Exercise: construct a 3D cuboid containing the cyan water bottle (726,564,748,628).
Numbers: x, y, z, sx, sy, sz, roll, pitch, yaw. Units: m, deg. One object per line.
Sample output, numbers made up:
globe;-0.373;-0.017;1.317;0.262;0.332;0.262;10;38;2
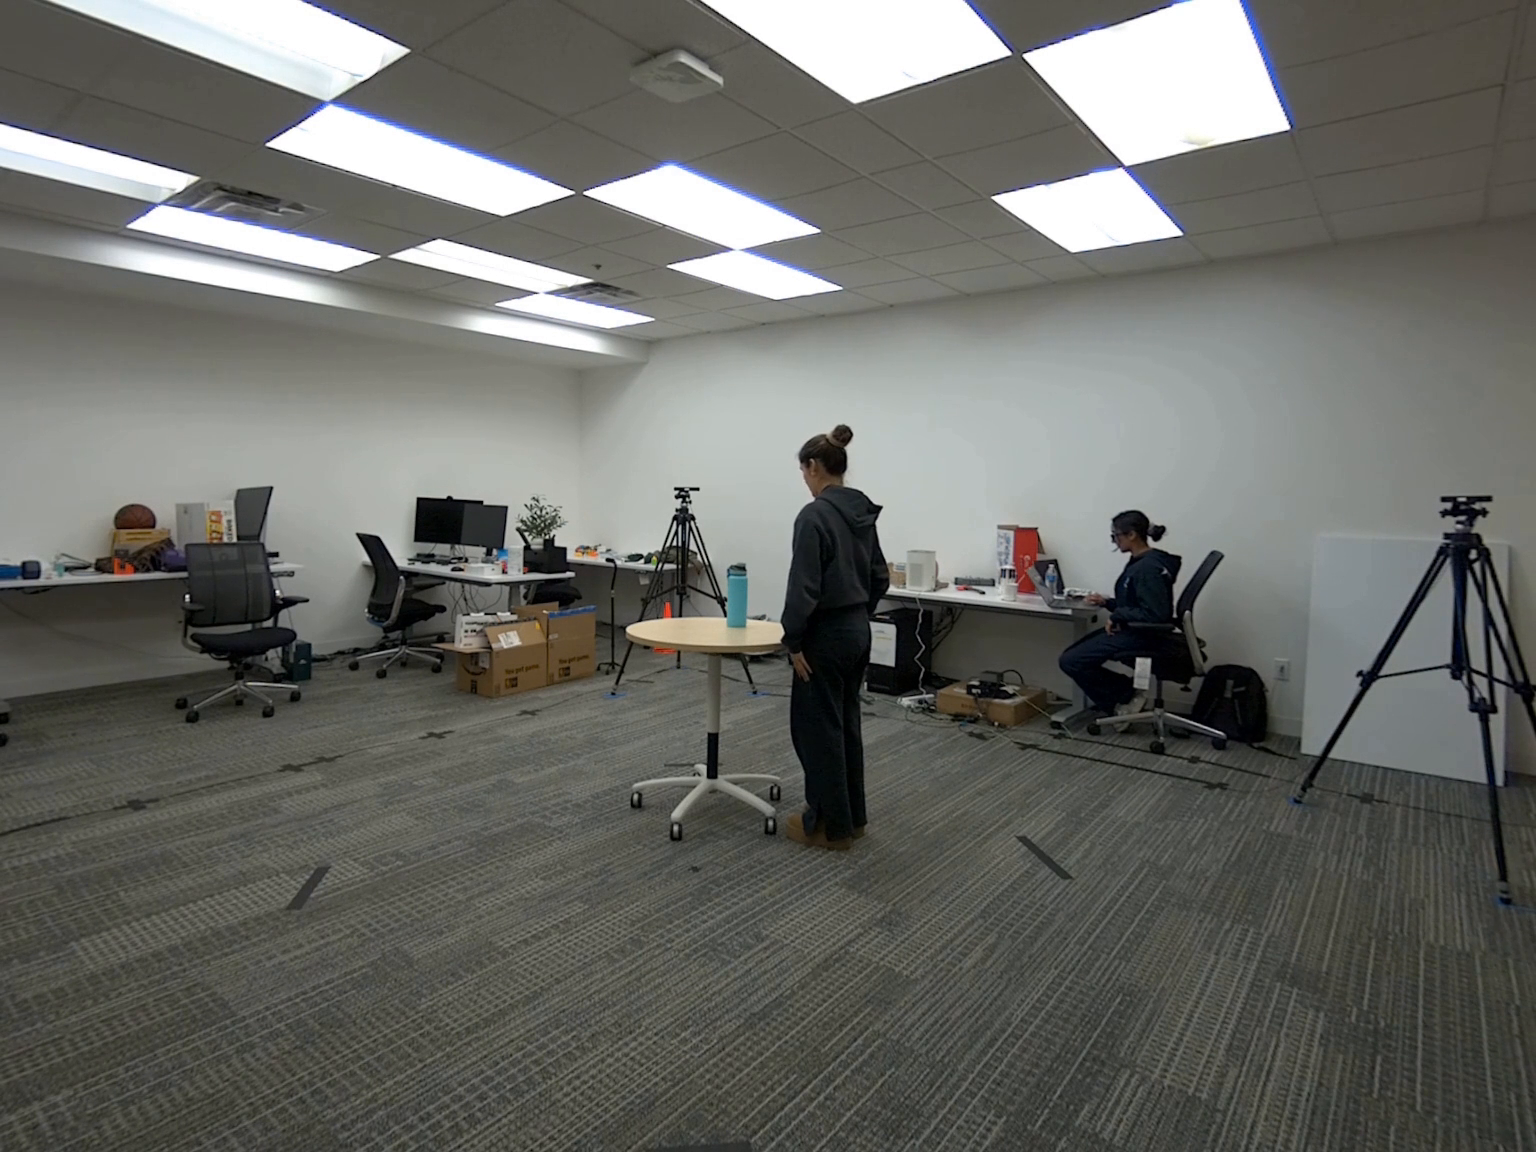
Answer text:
cyan water bottle;-0.143;0.078;3.783;0.092;0.282;0.093;0;5;-2
